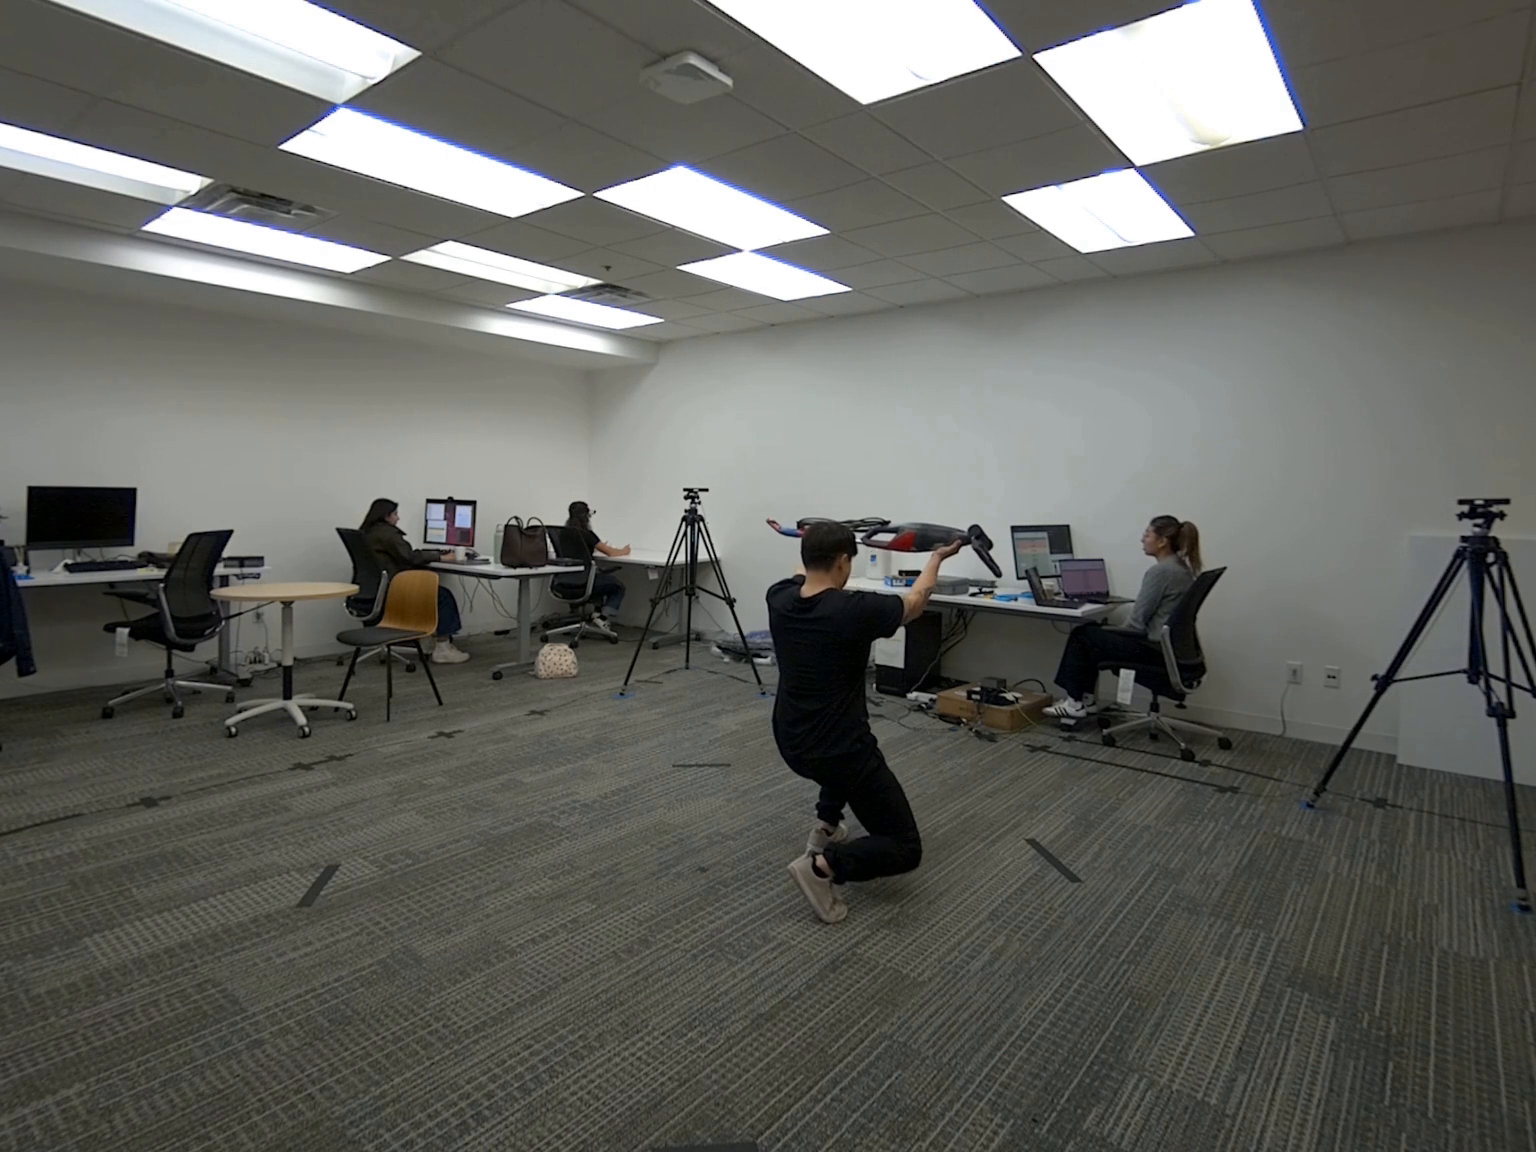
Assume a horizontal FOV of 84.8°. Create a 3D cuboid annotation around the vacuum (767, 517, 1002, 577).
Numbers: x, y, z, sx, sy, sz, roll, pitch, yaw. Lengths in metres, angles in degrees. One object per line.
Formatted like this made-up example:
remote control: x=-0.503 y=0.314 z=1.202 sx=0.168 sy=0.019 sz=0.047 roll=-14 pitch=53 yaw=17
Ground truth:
vacuum: x=0.400 y=-0.179 z=3.492 sx=1.088 sy=0.145 sz=0.242 roll=12 pitch=-18 yaw=42
